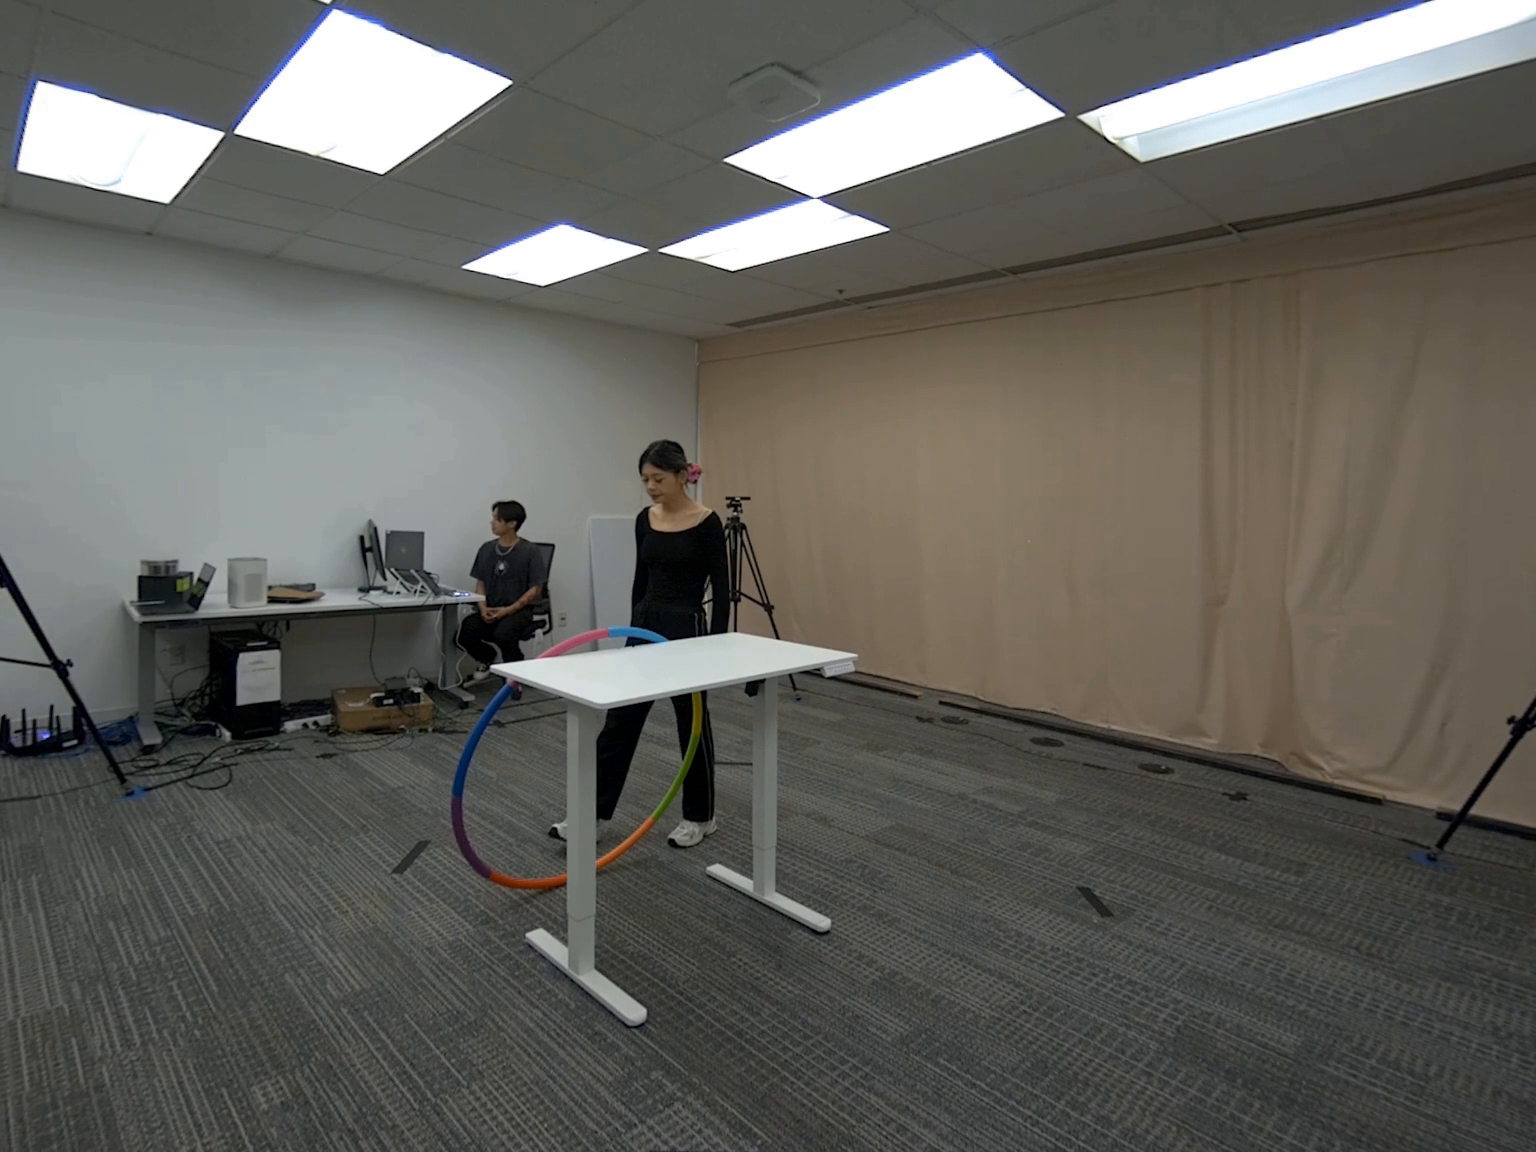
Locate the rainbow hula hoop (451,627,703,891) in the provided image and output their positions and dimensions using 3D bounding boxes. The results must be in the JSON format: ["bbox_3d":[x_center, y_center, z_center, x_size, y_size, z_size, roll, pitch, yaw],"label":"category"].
[{"bbox_3d":[-0.630,0.641,2.910,0.956,0.971,0.036,-3,20,-45],"label":"rainbow hula hoop"}]
